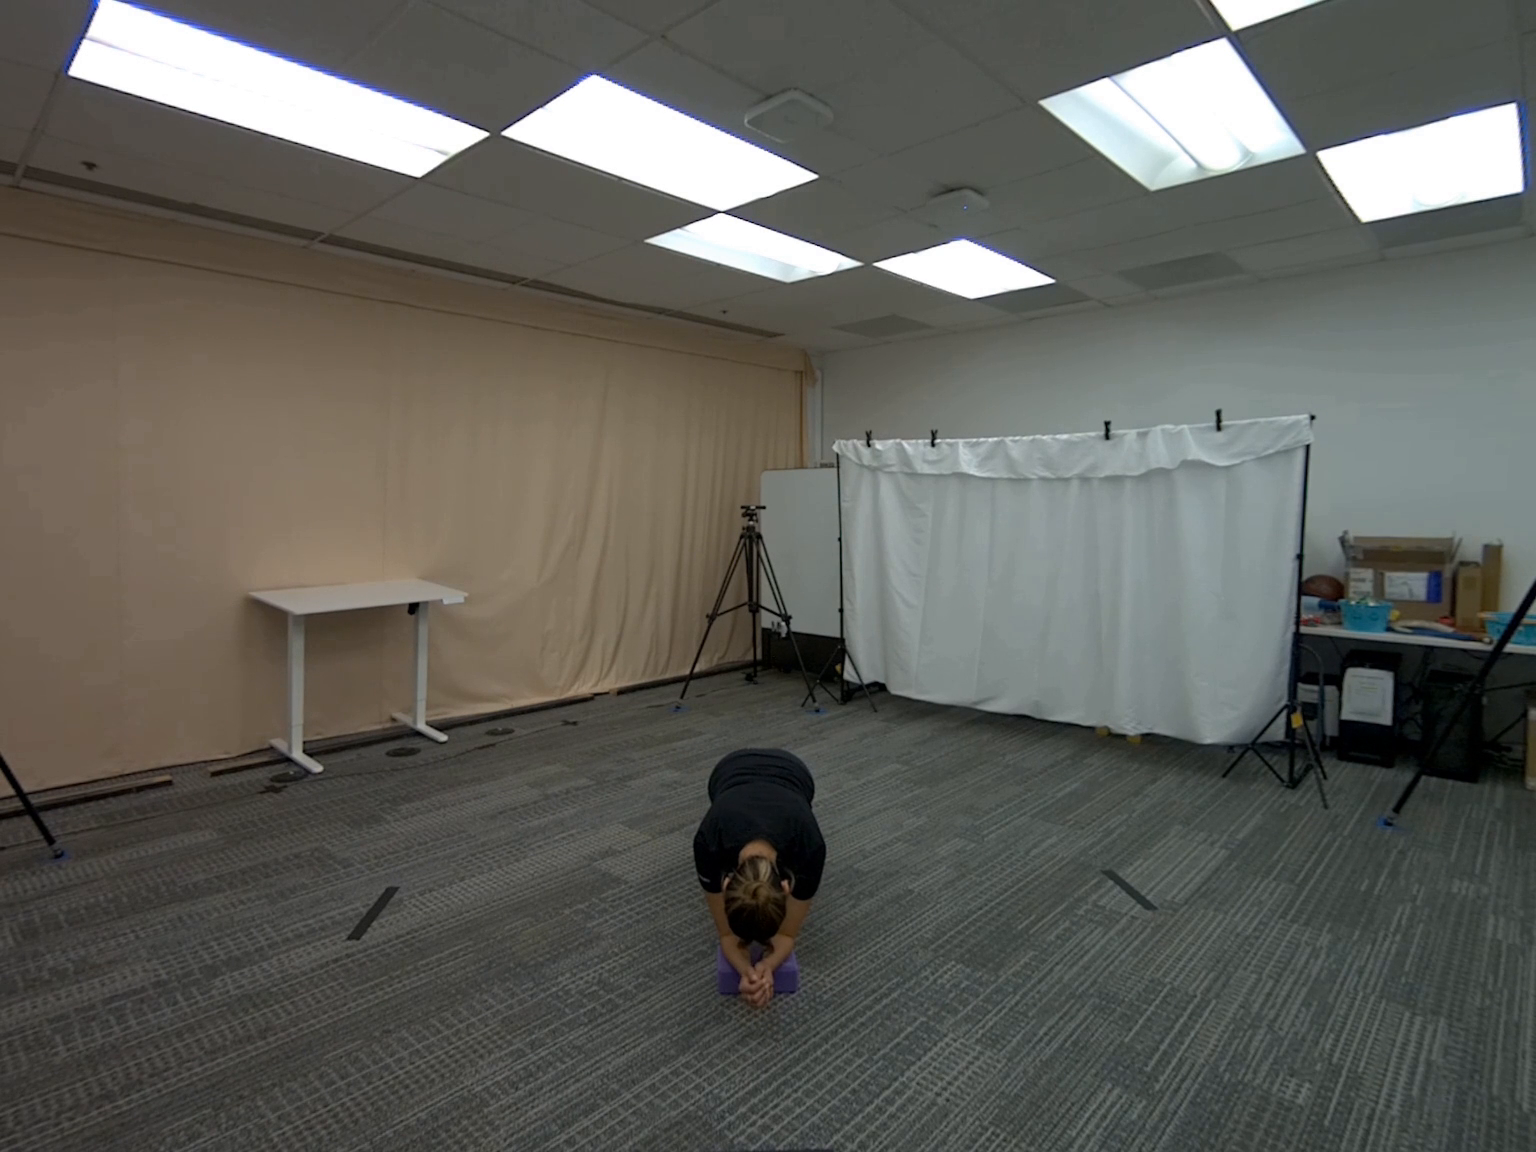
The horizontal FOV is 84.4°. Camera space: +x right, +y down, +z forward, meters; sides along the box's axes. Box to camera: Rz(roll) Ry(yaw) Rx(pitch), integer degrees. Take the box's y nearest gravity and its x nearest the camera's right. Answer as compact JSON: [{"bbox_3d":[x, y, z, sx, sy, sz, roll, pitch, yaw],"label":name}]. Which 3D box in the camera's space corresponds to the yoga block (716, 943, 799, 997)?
[{"bbox_3d":[-0.030,1.143,2.470,0.229,0.076,0.149,0,6,0],"label":"yoga block"}]
